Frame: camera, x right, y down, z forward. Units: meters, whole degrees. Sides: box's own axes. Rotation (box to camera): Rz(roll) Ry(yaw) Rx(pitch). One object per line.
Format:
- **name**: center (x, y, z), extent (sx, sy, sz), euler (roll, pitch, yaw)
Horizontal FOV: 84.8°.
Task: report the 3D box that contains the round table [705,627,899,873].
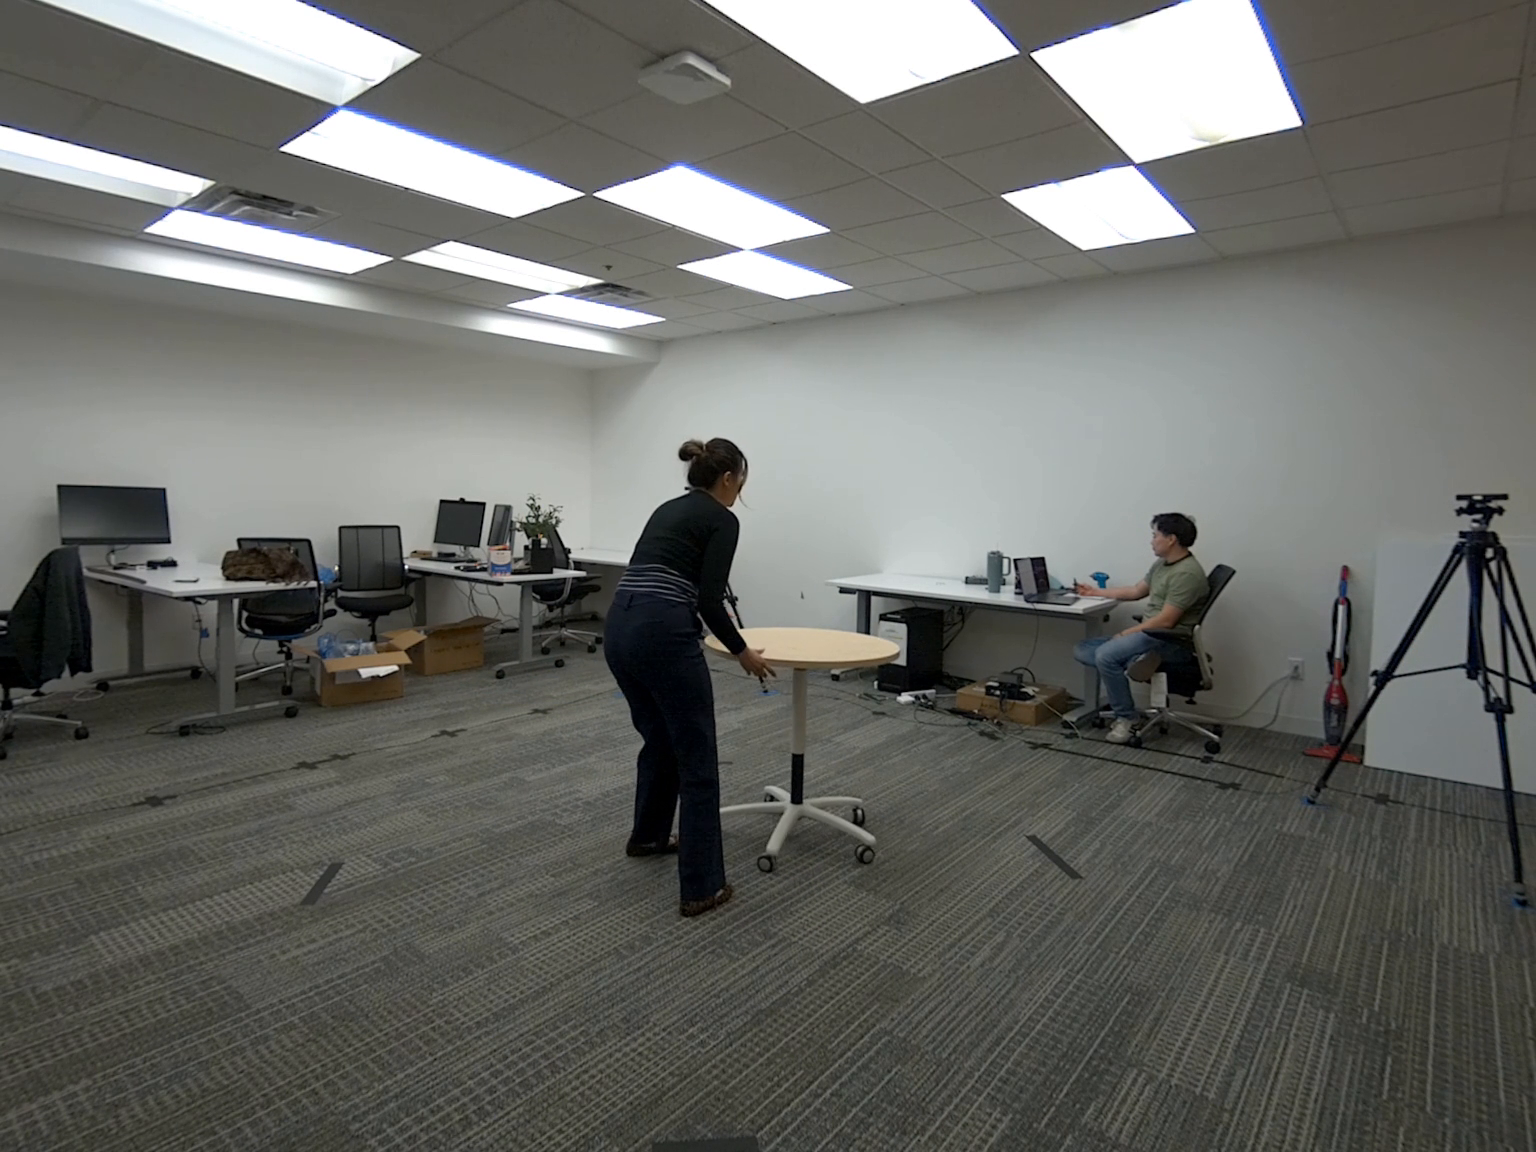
- **round table**: center (0.115, 0.655, 3.392), extent (0.763, 0.791, 0.768), euler (1, 4, -2)
